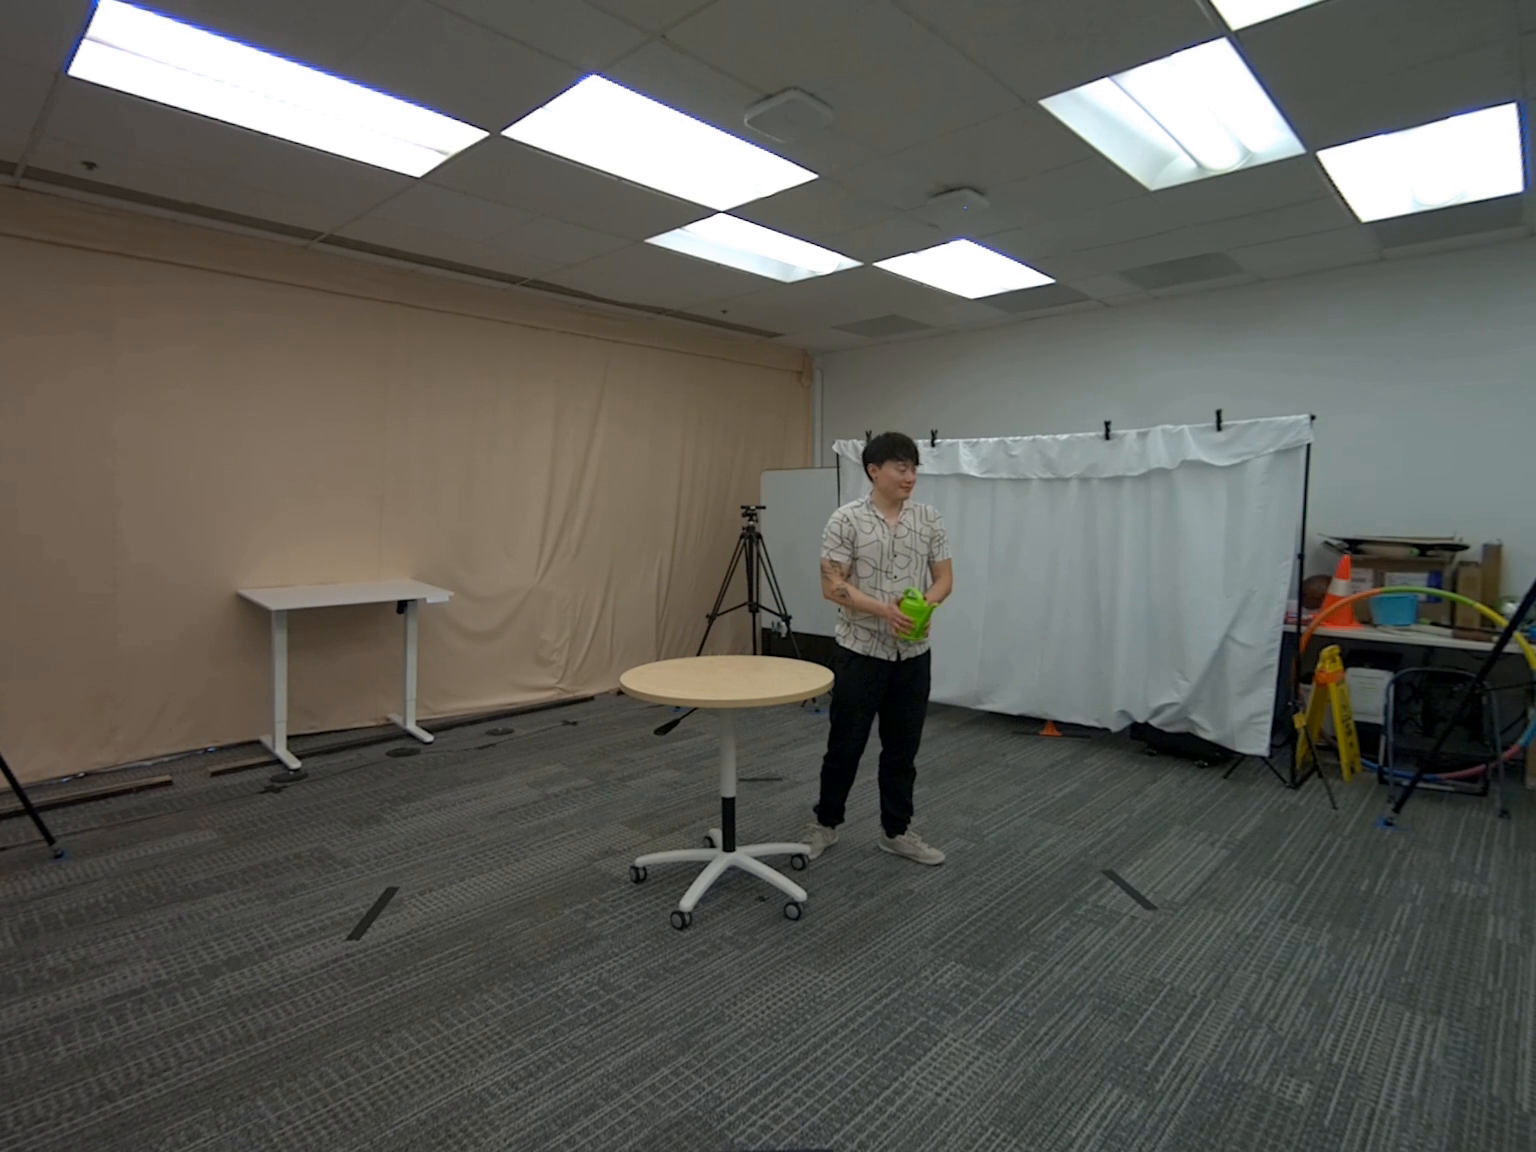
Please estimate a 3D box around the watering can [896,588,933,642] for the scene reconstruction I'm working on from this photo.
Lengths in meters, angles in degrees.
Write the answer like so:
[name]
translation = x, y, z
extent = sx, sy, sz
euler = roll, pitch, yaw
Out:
[watering can]
translation = 0.523, 0.148, 3.011
extent = 0.098, 0.175, 0.279
euler = 5, 13, 0
